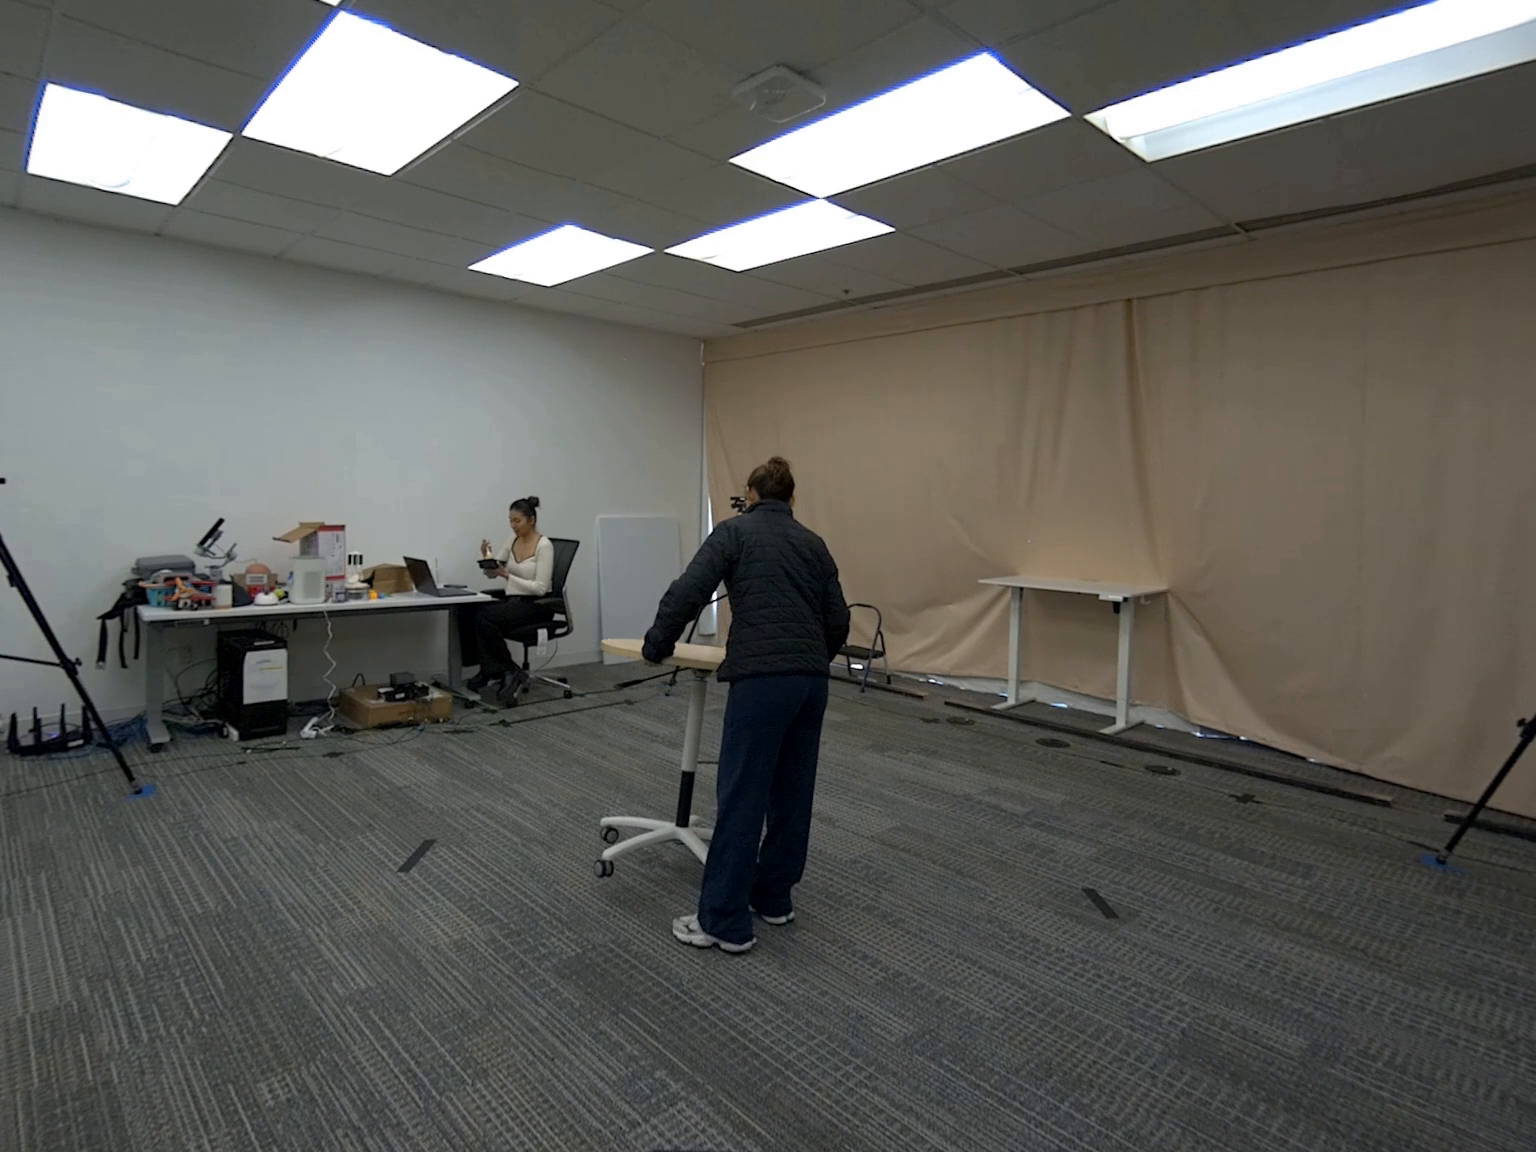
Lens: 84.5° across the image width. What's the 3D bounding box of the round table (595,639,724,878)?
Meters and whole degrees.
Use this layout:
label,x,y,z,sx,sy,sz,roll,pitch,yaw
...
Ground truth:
label,x,y,z,sx,sy,sz,roll,pitch,yaw
round table,-0.297,0.677,3.108,0.785,0.788,0.784,6,-2,-1
